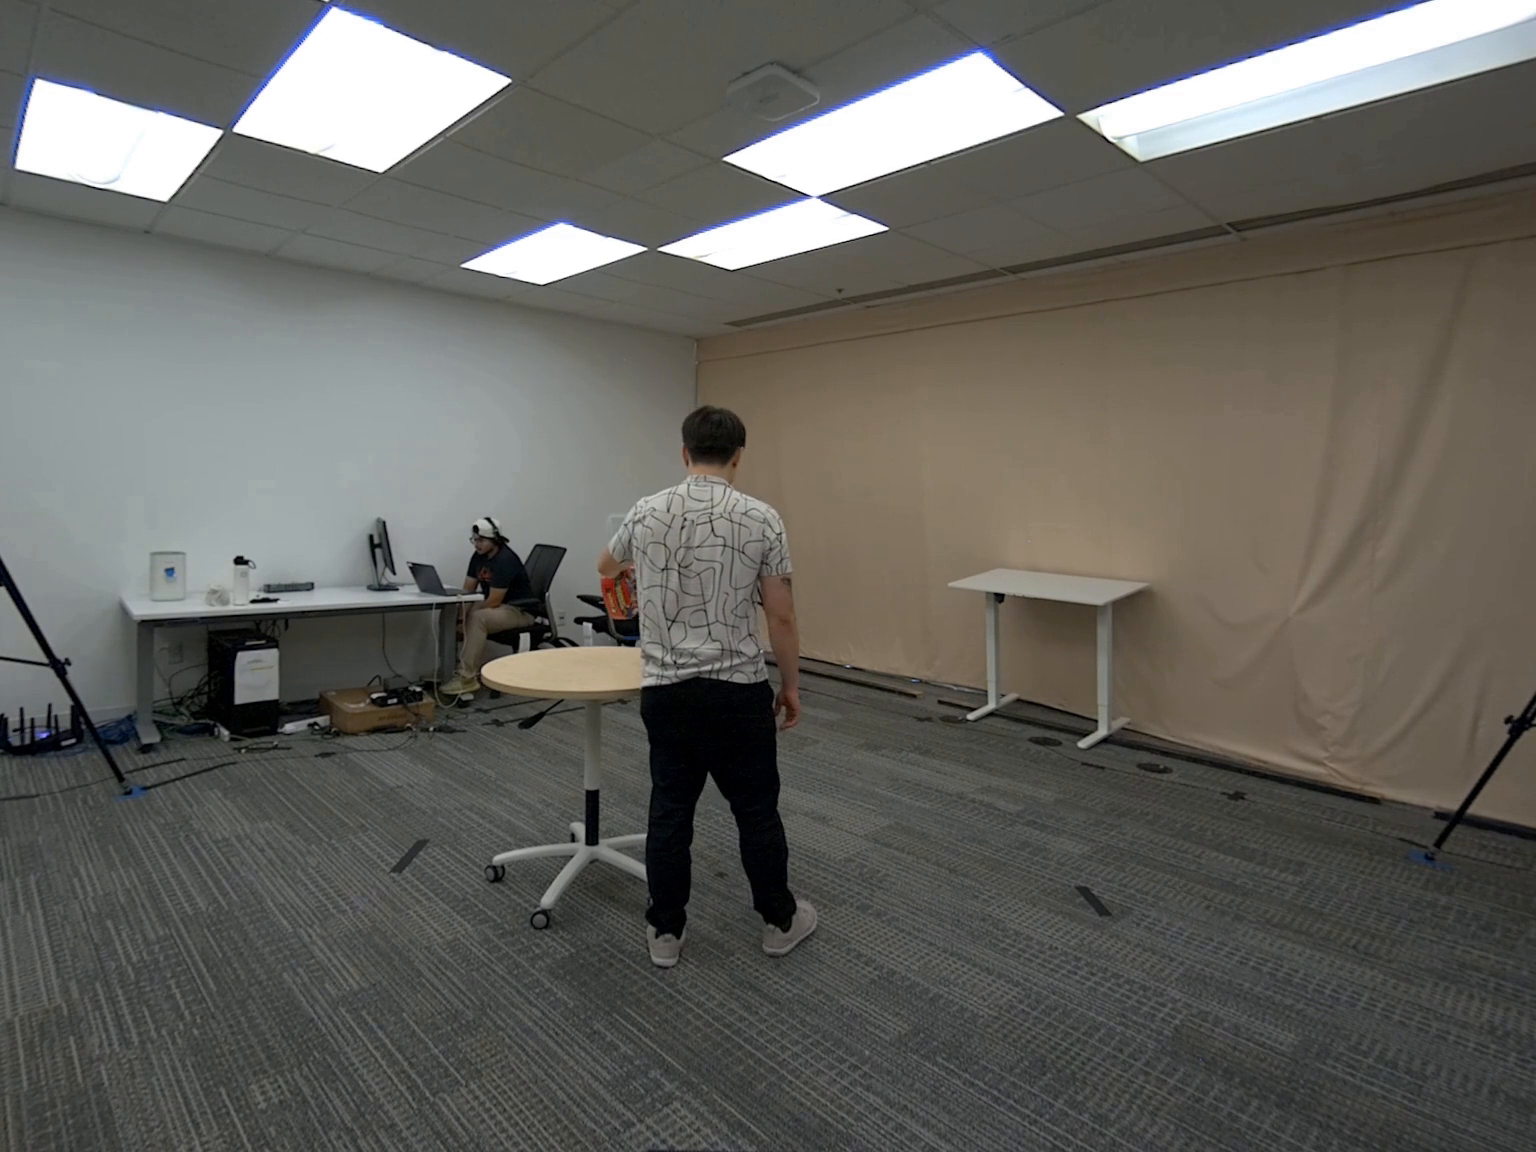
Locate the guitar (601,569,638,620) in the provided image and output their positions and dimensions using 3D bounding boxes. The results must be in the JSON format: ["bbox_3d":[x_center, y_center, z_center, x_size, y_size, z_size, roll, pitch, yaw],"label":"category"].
[{"bbox_3d":[-0.443,0.019,3.178,0.072,0.191,0.491,-2,12,33],"label":"guitar"}]
